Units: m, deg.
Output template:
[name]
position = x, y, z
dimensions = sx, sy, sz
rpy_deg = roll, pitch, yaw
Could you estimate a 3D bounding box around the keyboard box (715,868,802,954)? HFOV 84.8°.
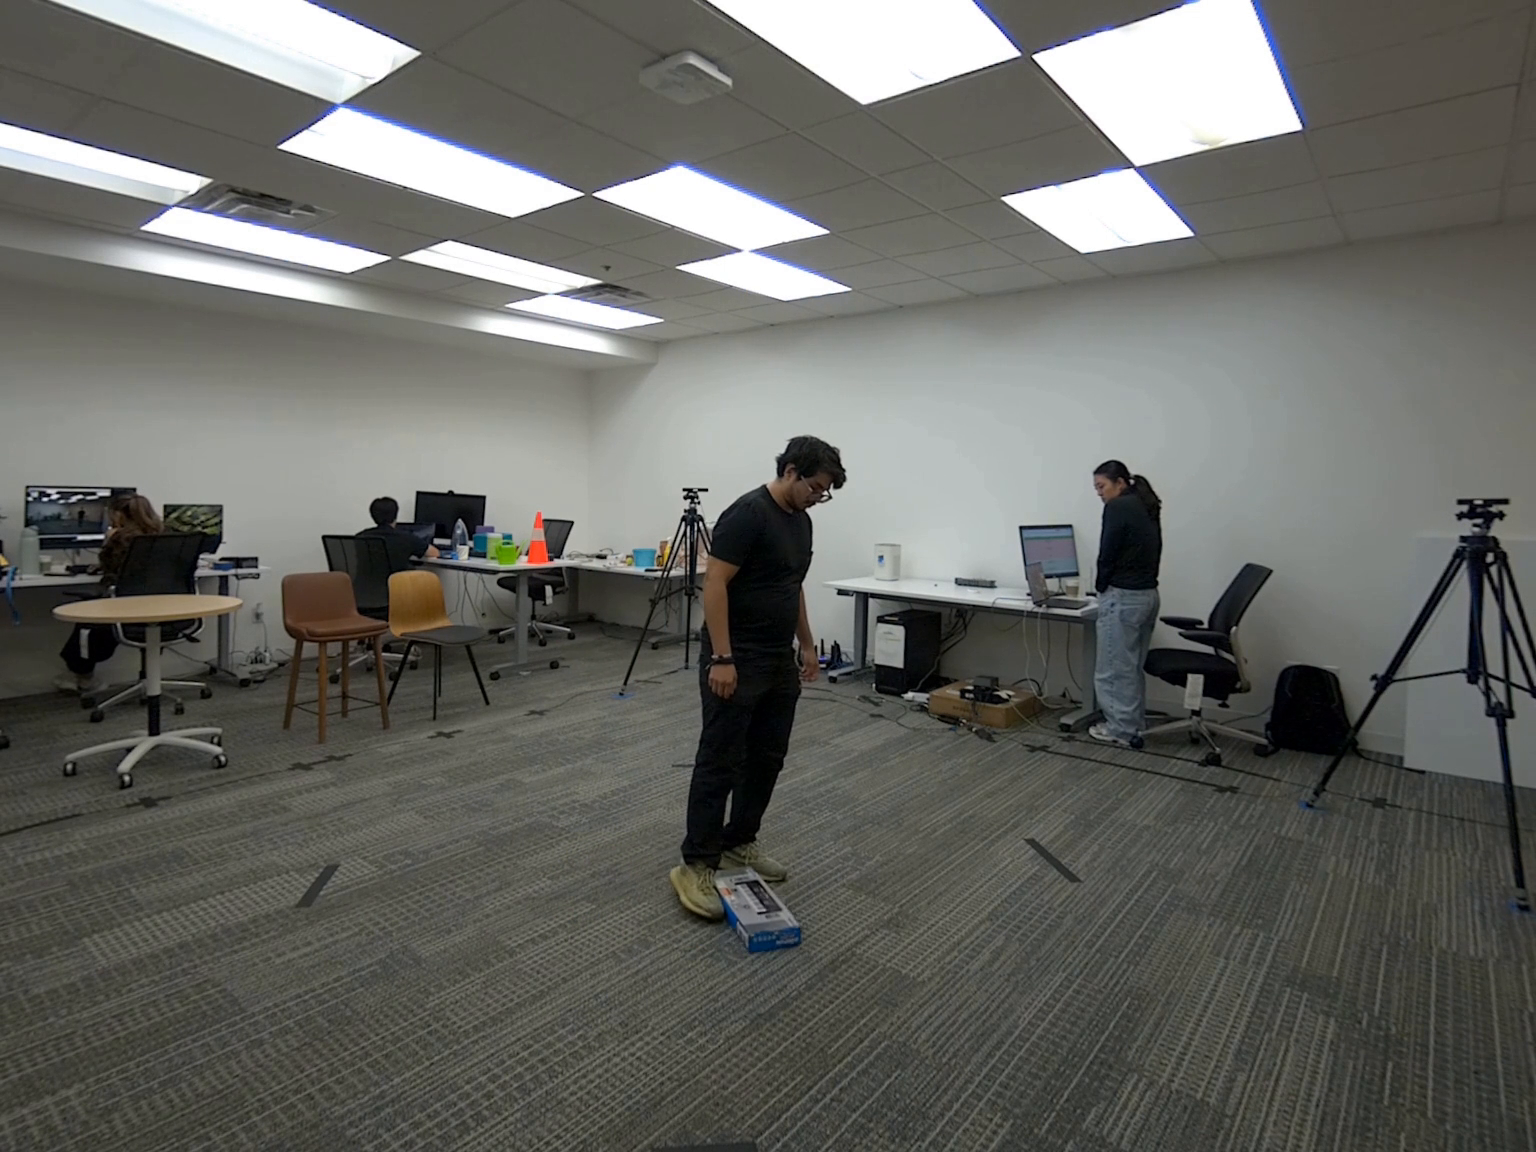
[keyboard box]
position = -0.067, 1.074, 2.775
dimensions = 0.172, 0.059, 0.447
rpy_deg = -1, 6, -21
